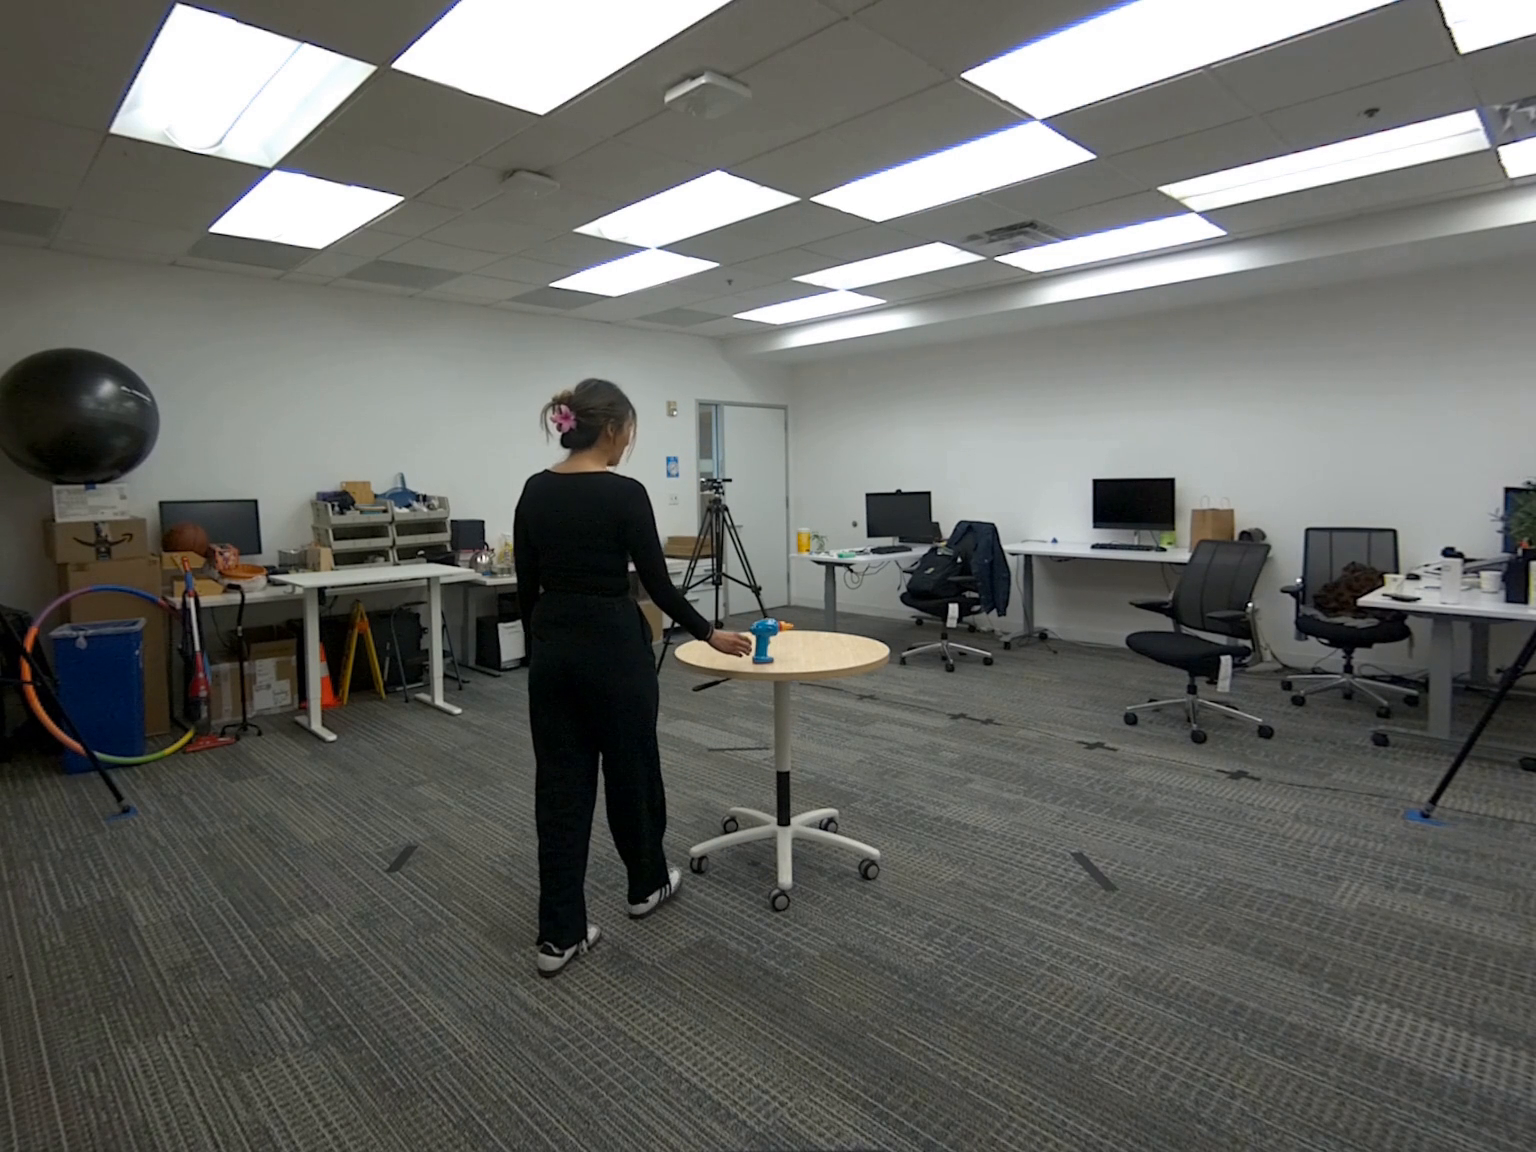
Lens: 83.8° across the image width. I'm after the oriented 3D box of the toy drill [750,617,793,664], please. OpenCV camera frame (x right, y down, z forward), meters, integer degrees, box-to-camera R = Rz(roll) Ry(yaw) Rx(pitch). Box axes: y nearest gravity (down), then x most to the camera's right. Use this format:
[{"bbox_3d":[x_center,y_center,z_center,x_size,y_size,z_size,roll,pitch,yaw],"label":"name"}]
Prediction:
[{"bbox_3d":[0.012,0.211,2.865,0.166,0.145,0.063,-4,5,-28],"label":"toy drill"}]
